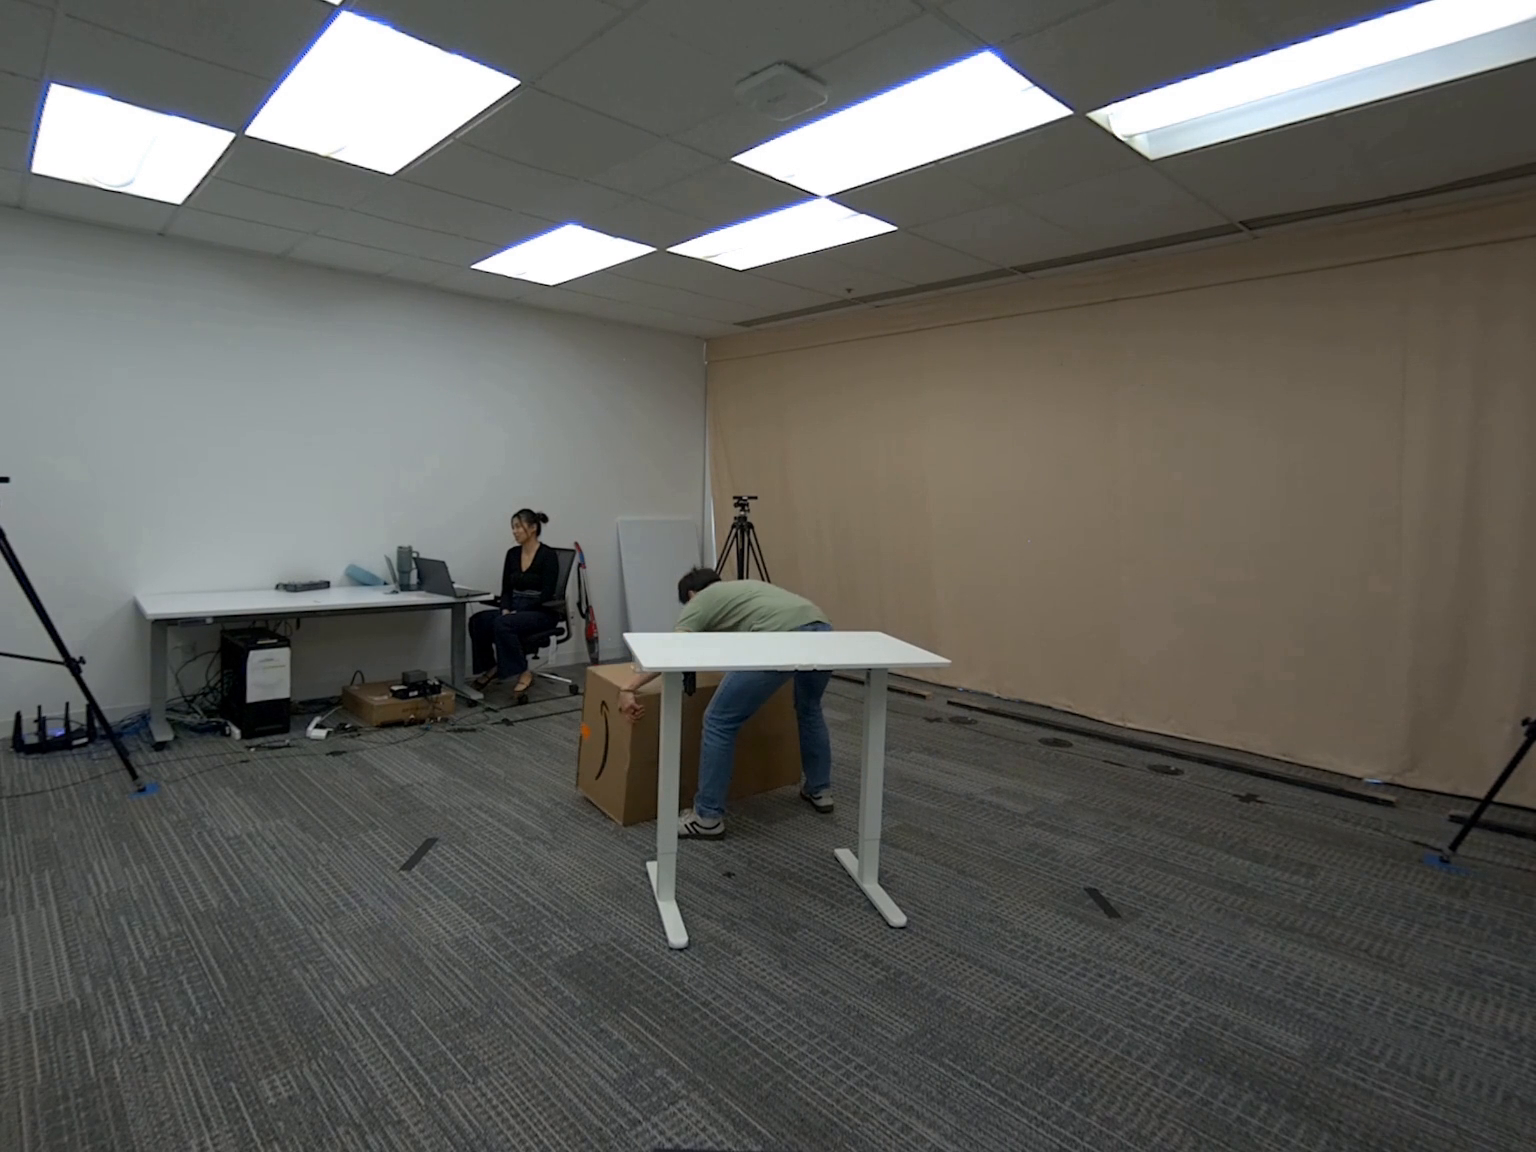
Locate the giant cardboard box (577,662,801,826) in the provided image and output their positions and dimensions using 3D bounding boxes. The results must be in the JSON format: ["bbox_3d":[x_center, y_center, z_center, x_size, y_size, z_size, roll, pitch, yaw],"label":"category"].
[{"bbox_3d":[-0.340,0.693,3.978,1.002,0.574,0.438,-1,12,-39],"label":"giant cardboard box"}]
